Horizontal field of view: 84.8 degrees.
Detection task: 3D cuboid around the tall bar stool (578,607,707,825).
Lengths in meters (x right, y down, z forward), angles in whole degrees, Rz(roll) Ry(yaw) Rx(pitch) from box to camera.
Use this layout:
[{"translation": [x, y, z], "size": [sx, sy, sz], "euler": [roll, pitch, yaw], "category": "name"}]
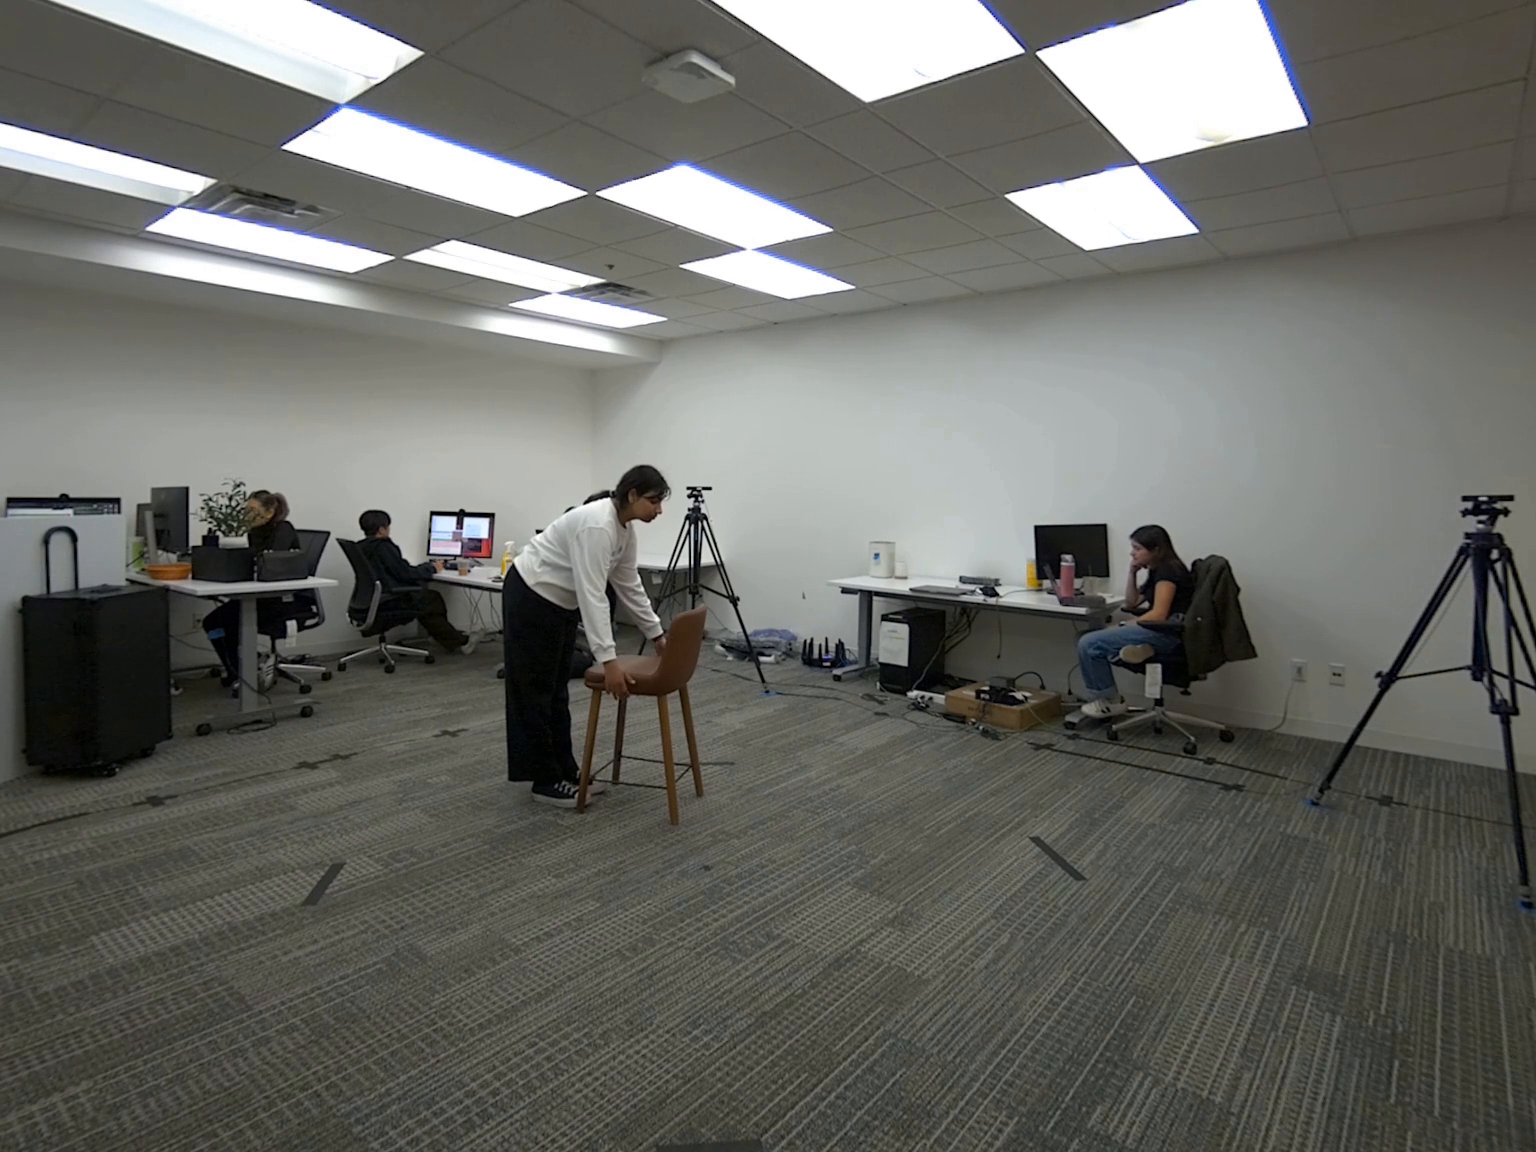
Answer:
[{"translation": [-0.543, 0.565, 3.722], "size": [0.477, 0.887, 0.449], "euler": [3, 3, 17], "category": "tall bar stool"}]
